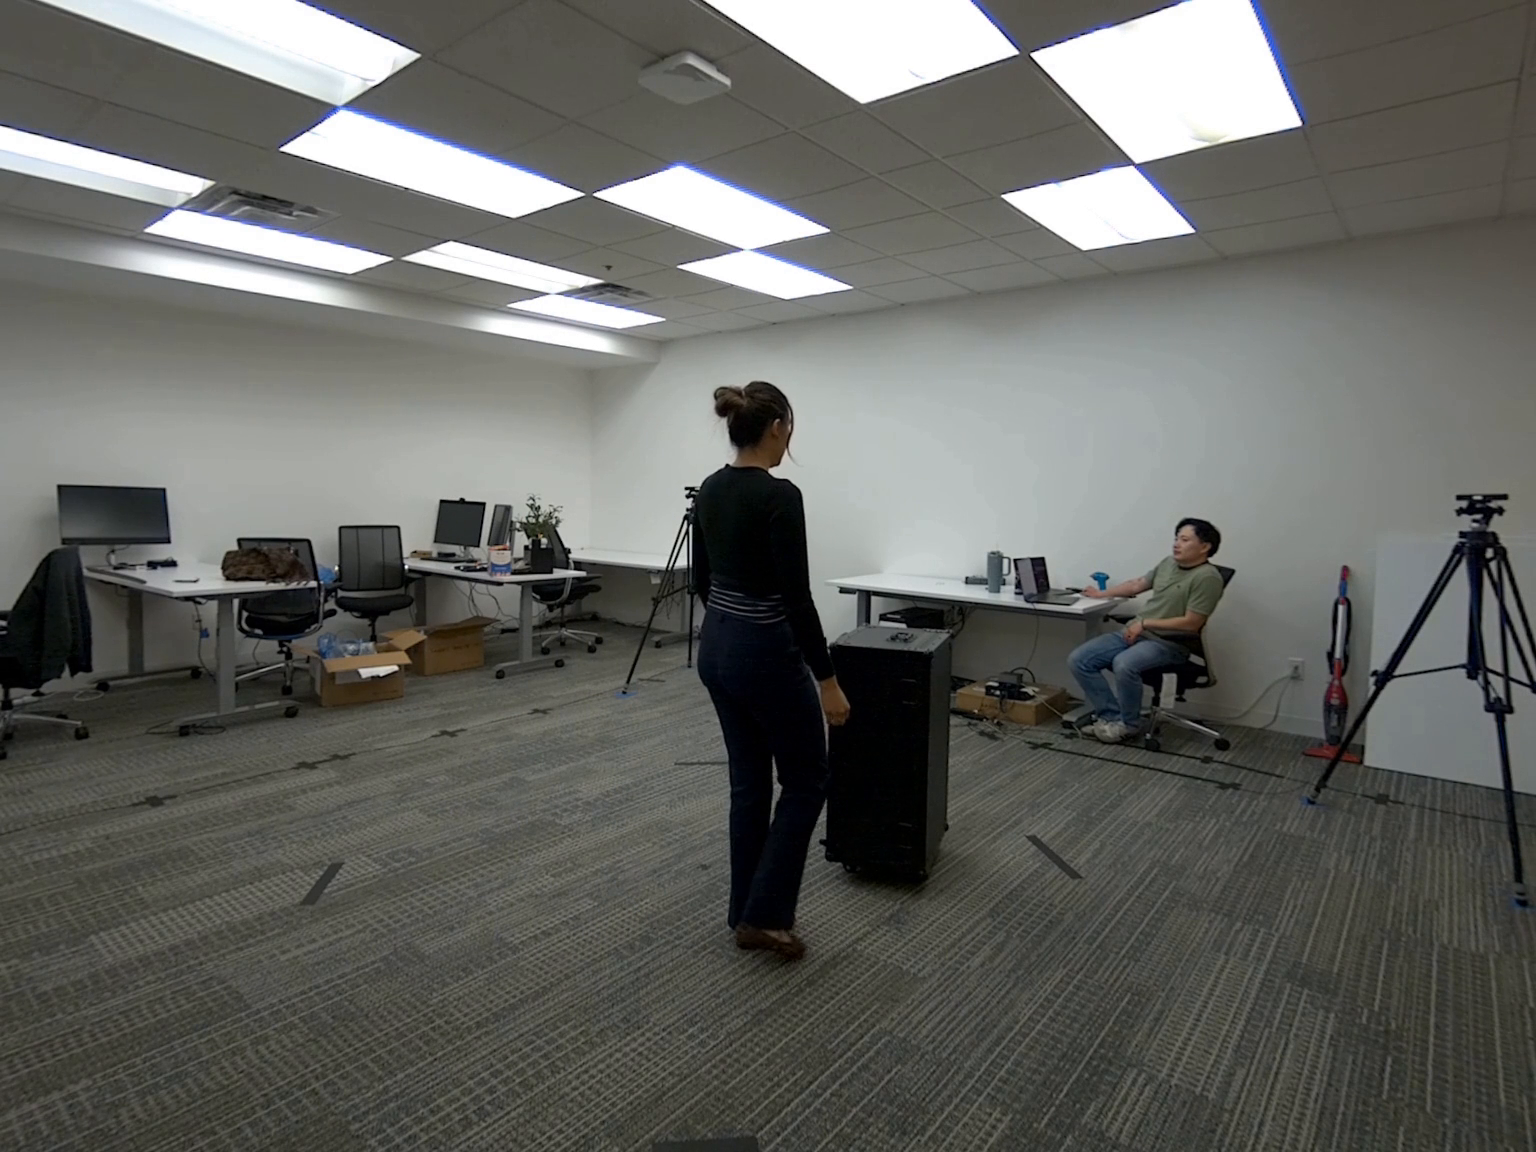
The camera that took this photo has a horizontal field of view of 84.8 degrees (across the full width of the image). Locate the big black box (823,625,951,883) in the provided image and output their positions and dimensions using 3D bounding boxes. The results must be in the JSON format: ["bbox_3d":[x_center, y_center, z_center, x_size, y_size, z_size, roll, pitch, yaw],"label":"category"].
[{"bbox_3d":[0.441,0.646,3.161,0.405,0.859,0.511,2,4,22],"label":"big black box"}]
